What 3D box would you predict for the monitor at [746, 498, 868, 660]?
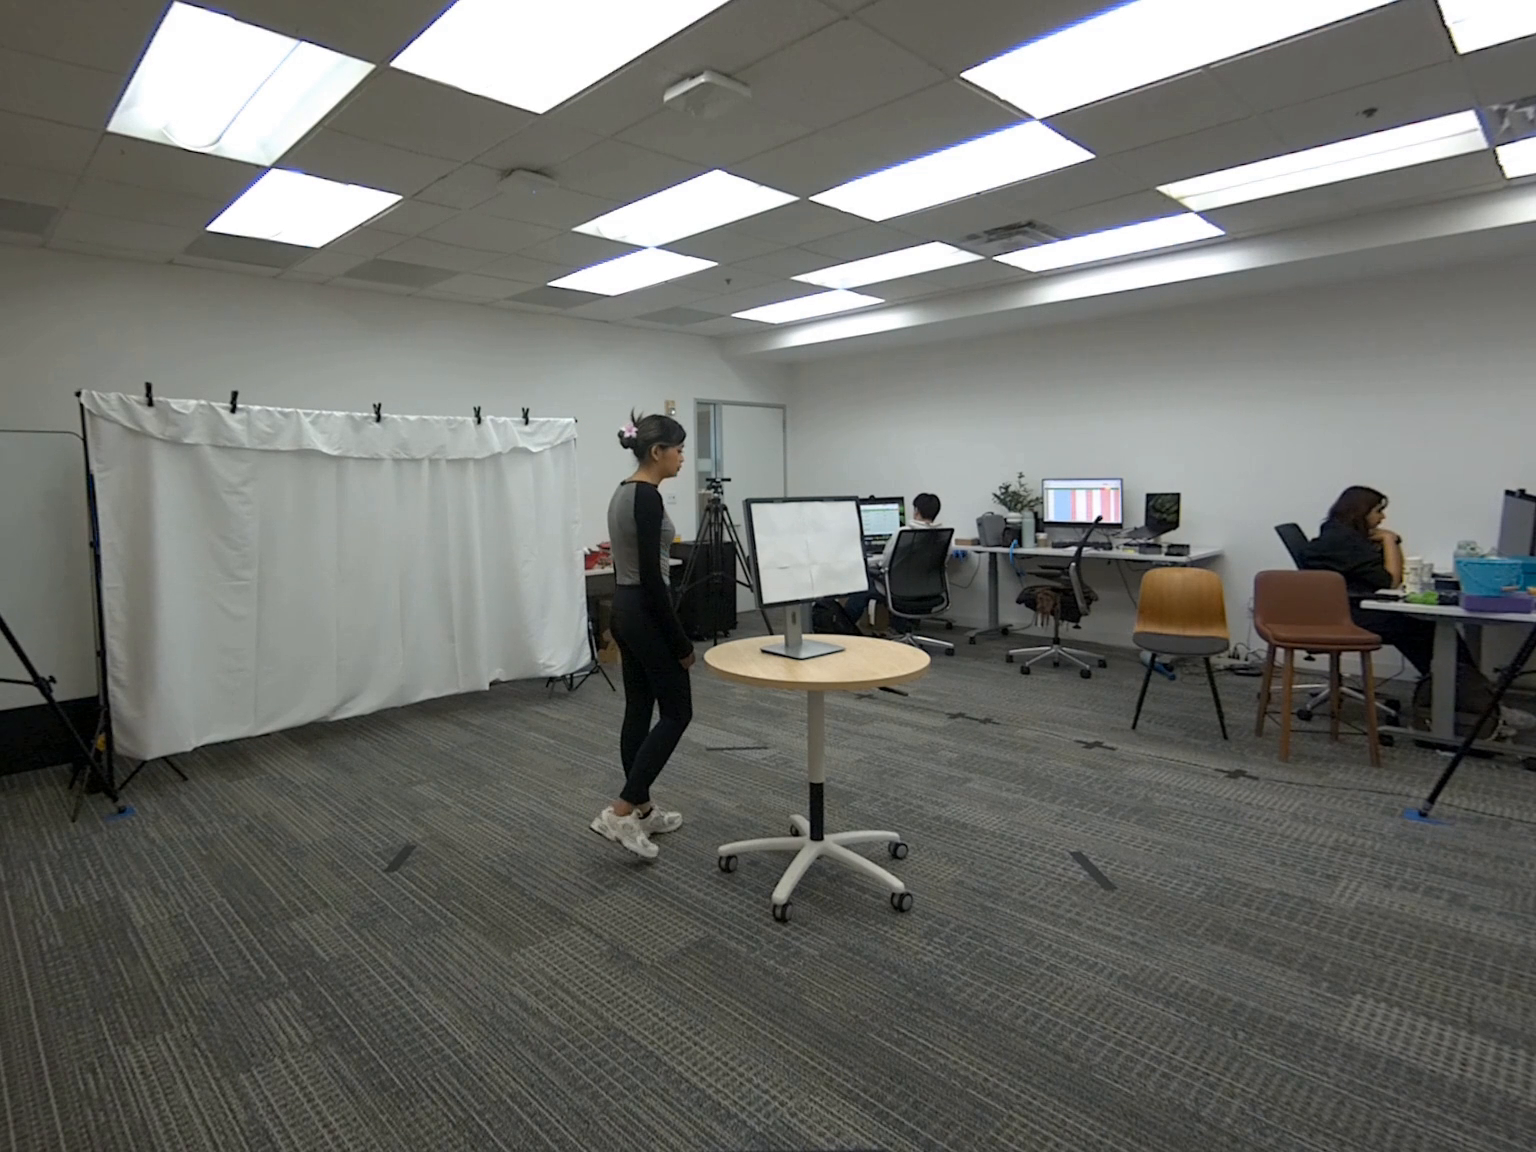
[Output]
[{"bbox_3d":[0.123,-0.001,2.980,0.193,0.520,0.525,5,7,45],"label":"monitor"}]
